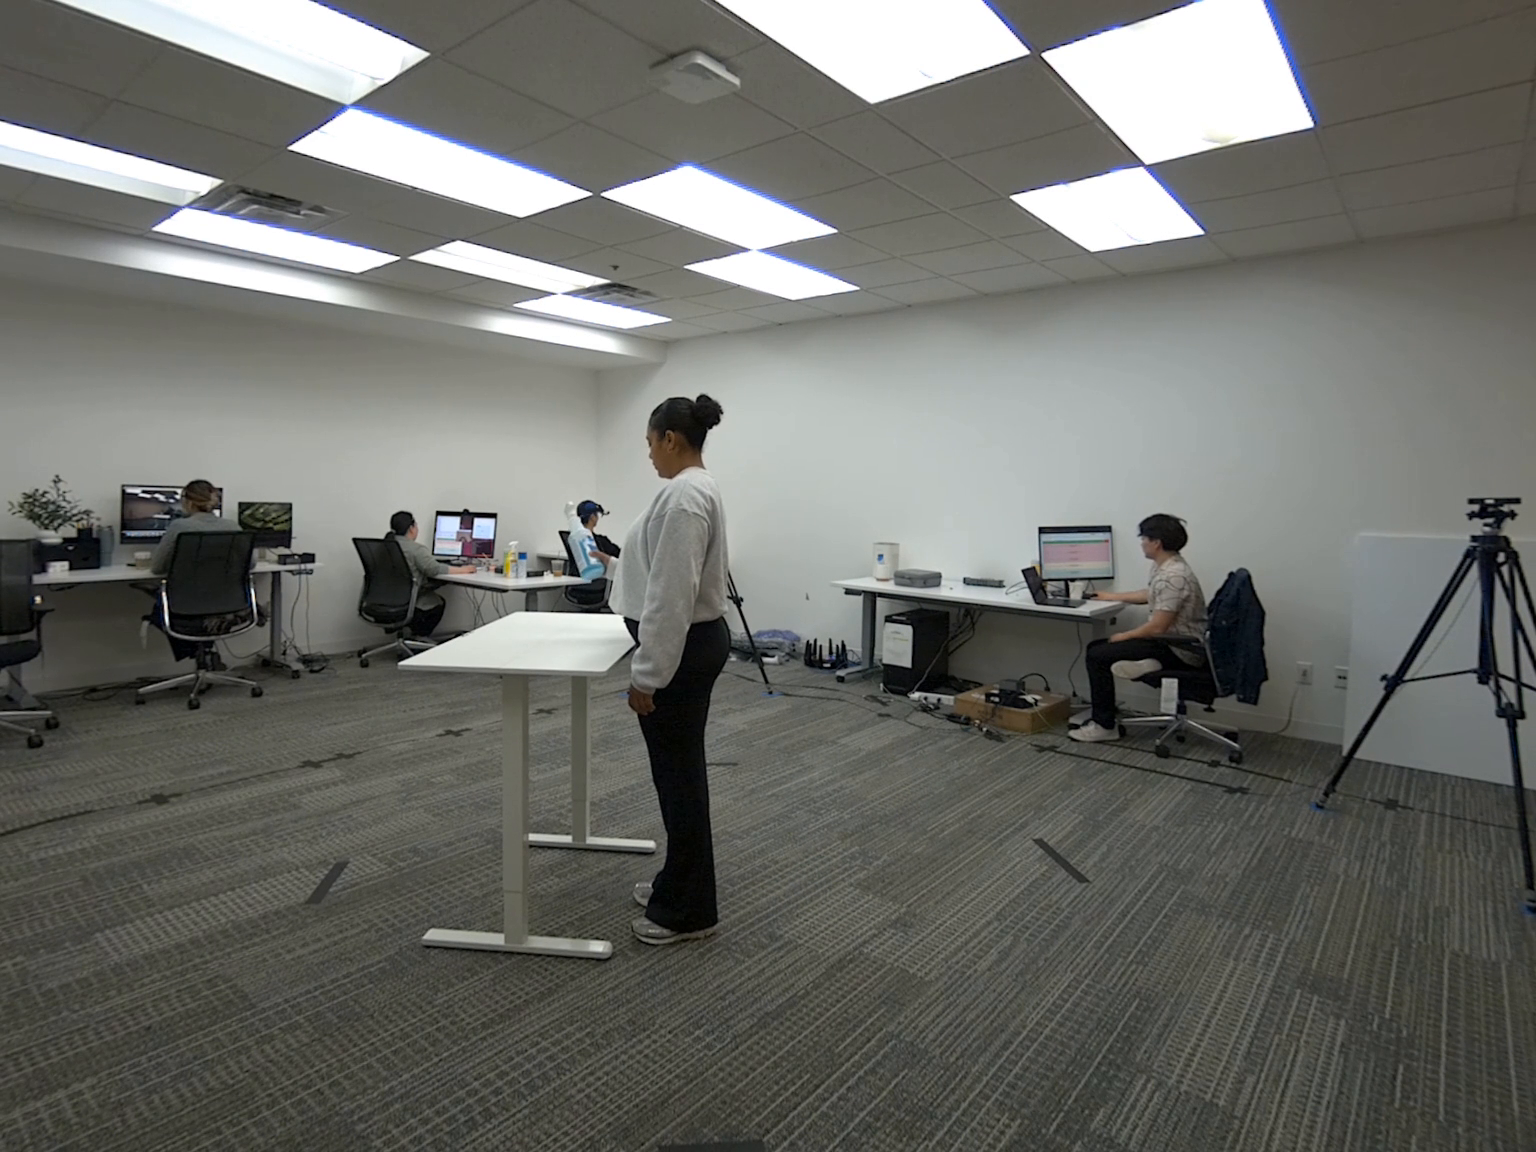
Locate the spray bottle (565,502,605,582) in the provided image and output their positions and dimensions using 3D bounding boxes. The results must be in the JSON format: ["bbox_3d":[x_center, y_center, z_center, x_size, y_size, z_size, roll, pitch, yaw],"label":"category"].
[{"bbox_3d":[-0.664,-0.133,2.966,0.087,0.306,0.088,-22,-24,-6],"label":"spray bottle"}]
